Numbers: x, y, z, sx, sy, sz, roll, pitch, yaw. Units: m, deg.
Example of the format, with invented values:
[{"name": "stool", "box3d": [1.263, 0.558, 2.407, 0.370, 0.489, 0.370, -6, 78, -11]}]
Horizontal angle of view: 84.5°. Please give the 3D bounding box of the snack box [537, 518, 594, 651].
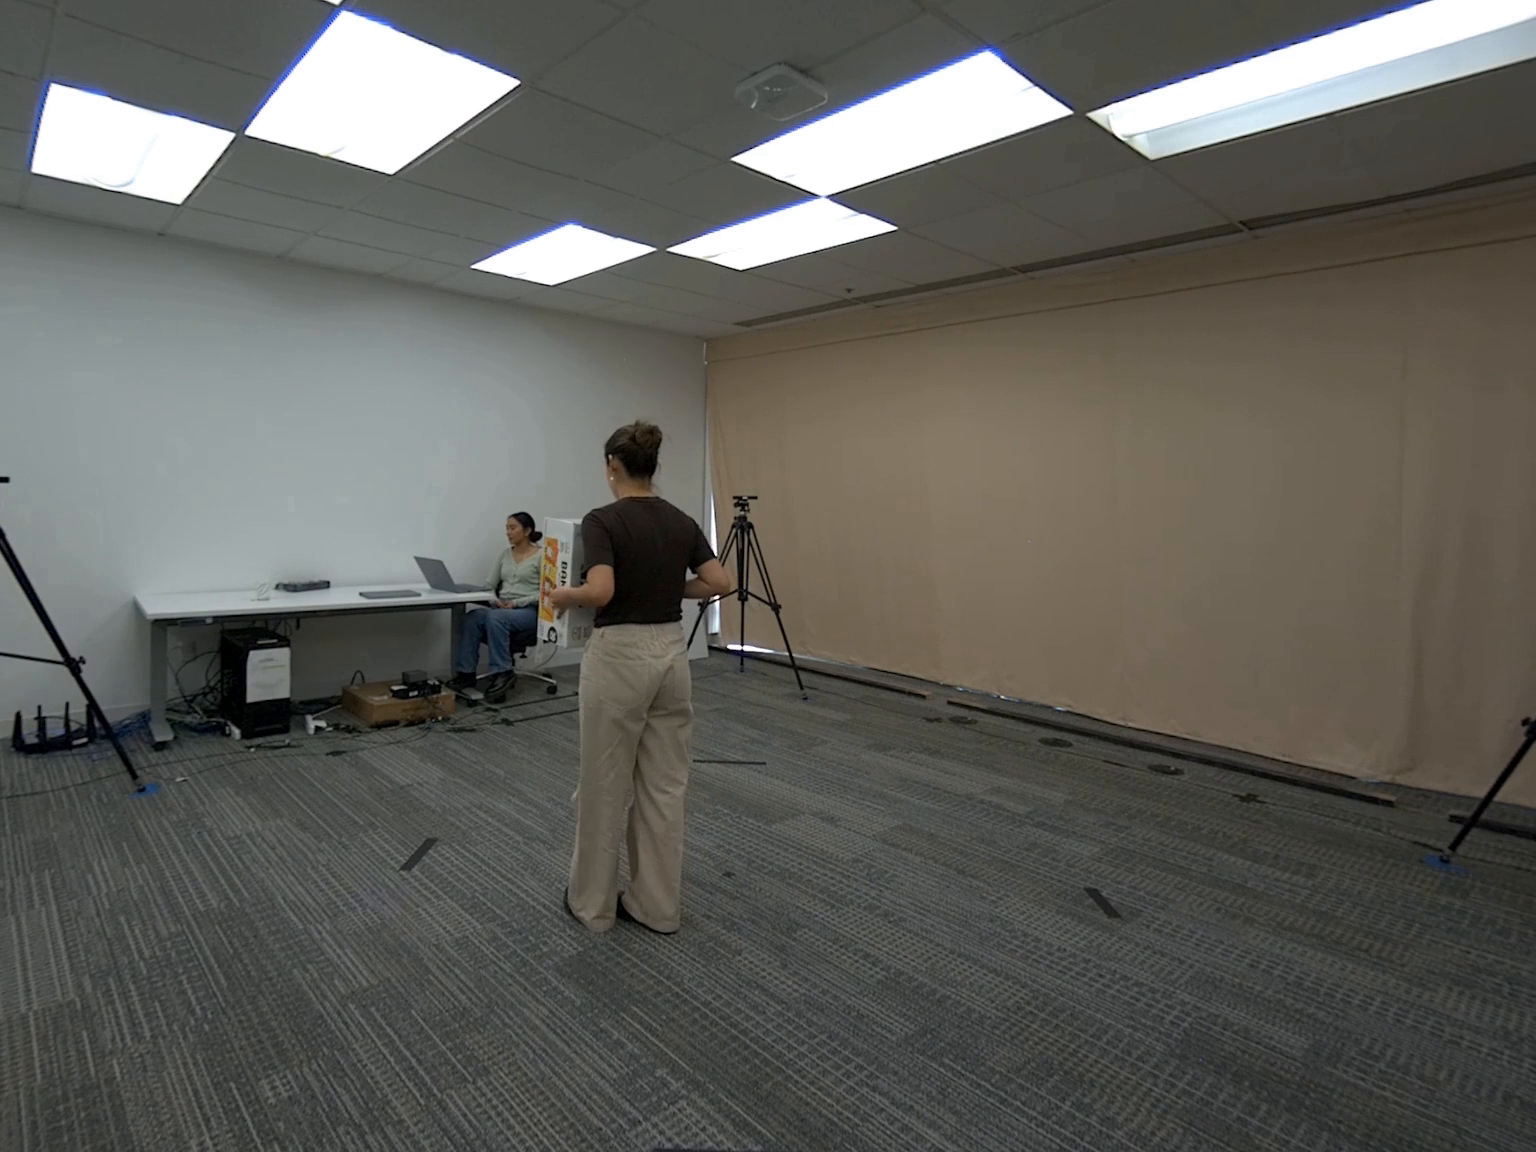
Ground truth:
[{"name": "snack box", "box3d": [-0.583, 0.017, 2.849, 0.332, 0.404, 0.211, 0, 7, -43]}]
